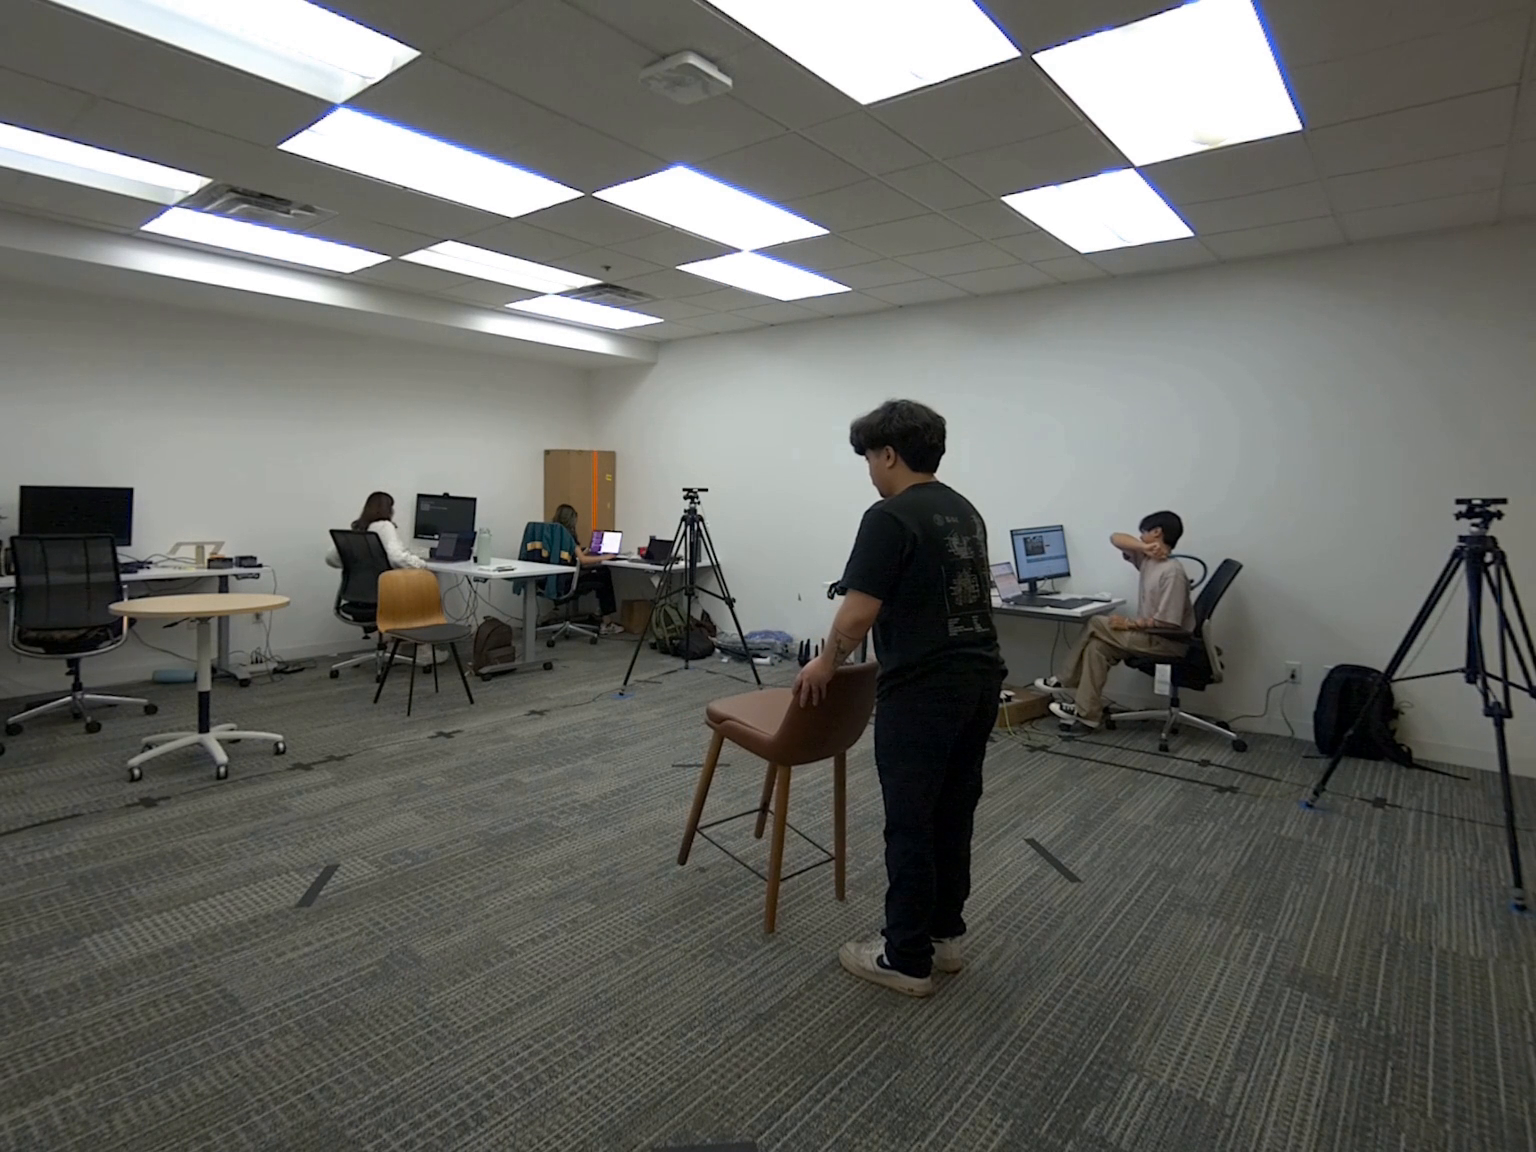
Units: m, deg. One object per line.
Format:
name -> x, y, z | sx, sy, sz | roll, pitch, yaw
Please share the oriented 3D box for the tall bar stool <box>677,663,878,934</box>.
tall bar stool -> 0.043, 0.633, 2.863 | 0.442, 0.882, 0.486 | -1, 16, -44
